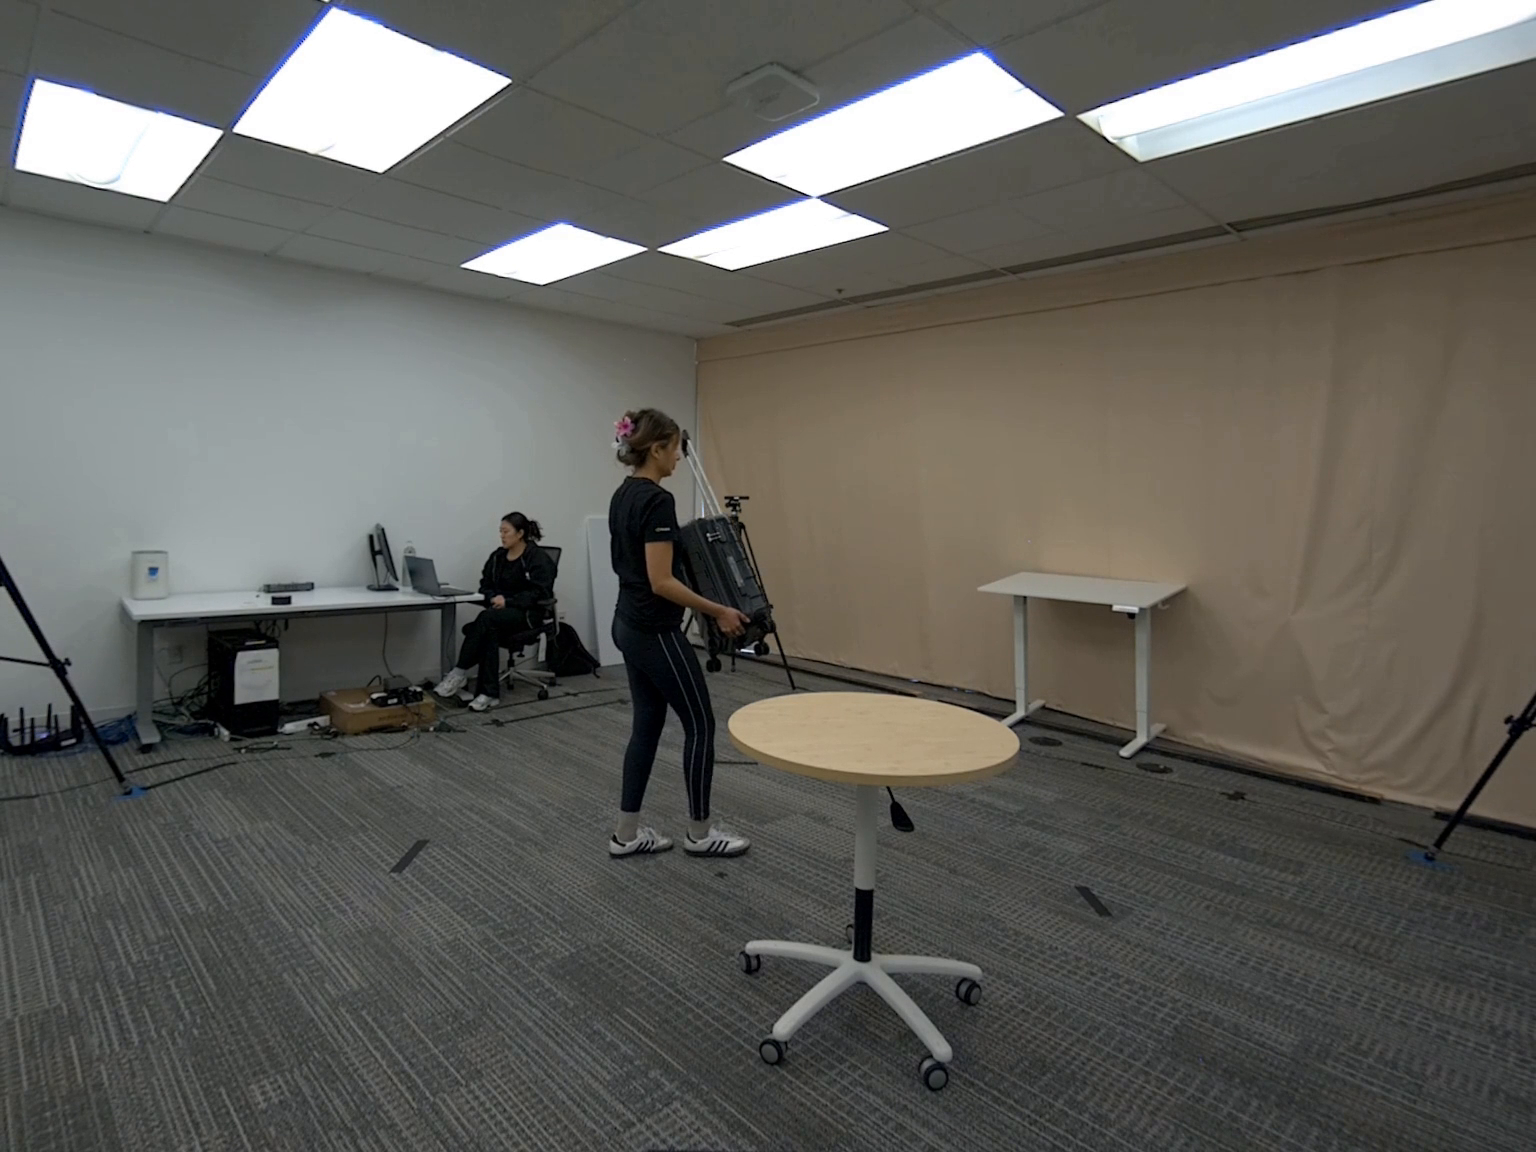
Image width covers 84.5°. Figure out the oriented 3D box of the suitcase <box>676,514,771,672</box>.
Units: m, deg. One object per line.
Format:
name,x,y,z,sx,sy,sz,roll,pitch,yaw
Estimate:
suitcase,-0.271,-0.140,3.464,0.255,0.998,0.378,-20,-21,-12
